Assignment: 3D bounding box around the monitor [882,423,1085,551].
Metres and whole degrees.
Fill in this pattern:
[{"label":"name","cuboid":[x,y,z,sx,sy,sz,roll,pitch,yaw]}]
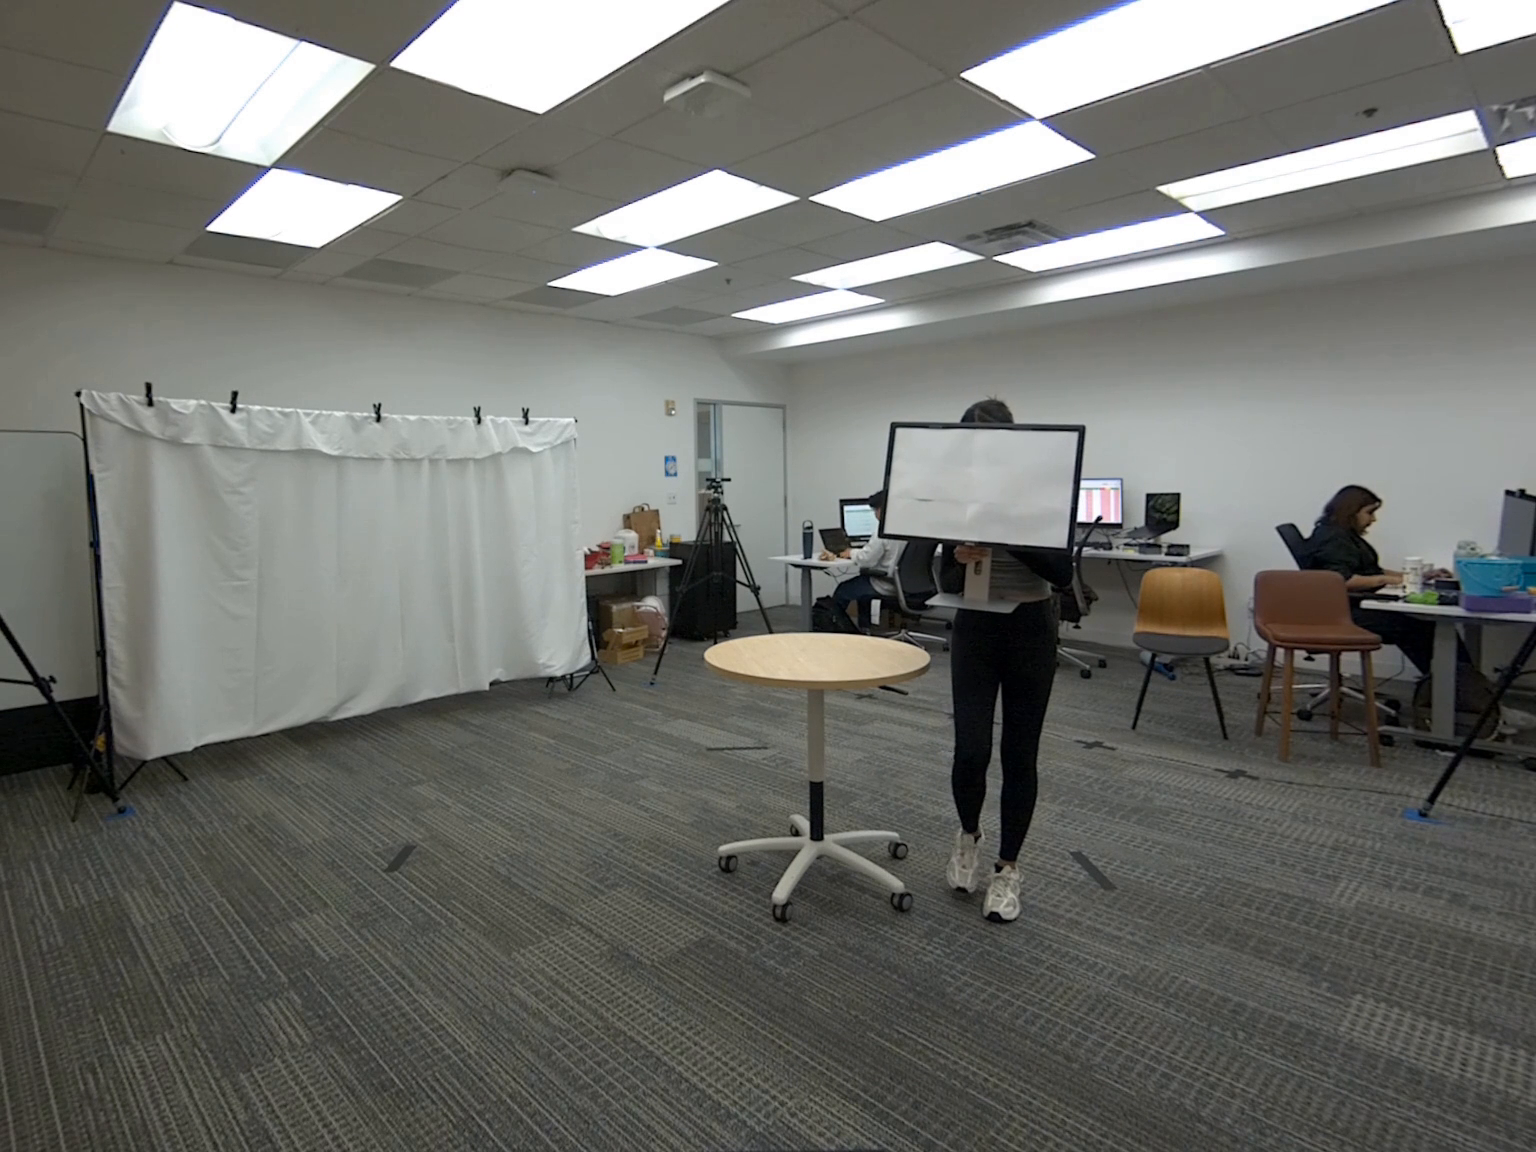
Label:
[{"label":"monitor","cuboid":[0.625,-0.180,2.529,0.553,0.520,0.183,6,7,27]}]
